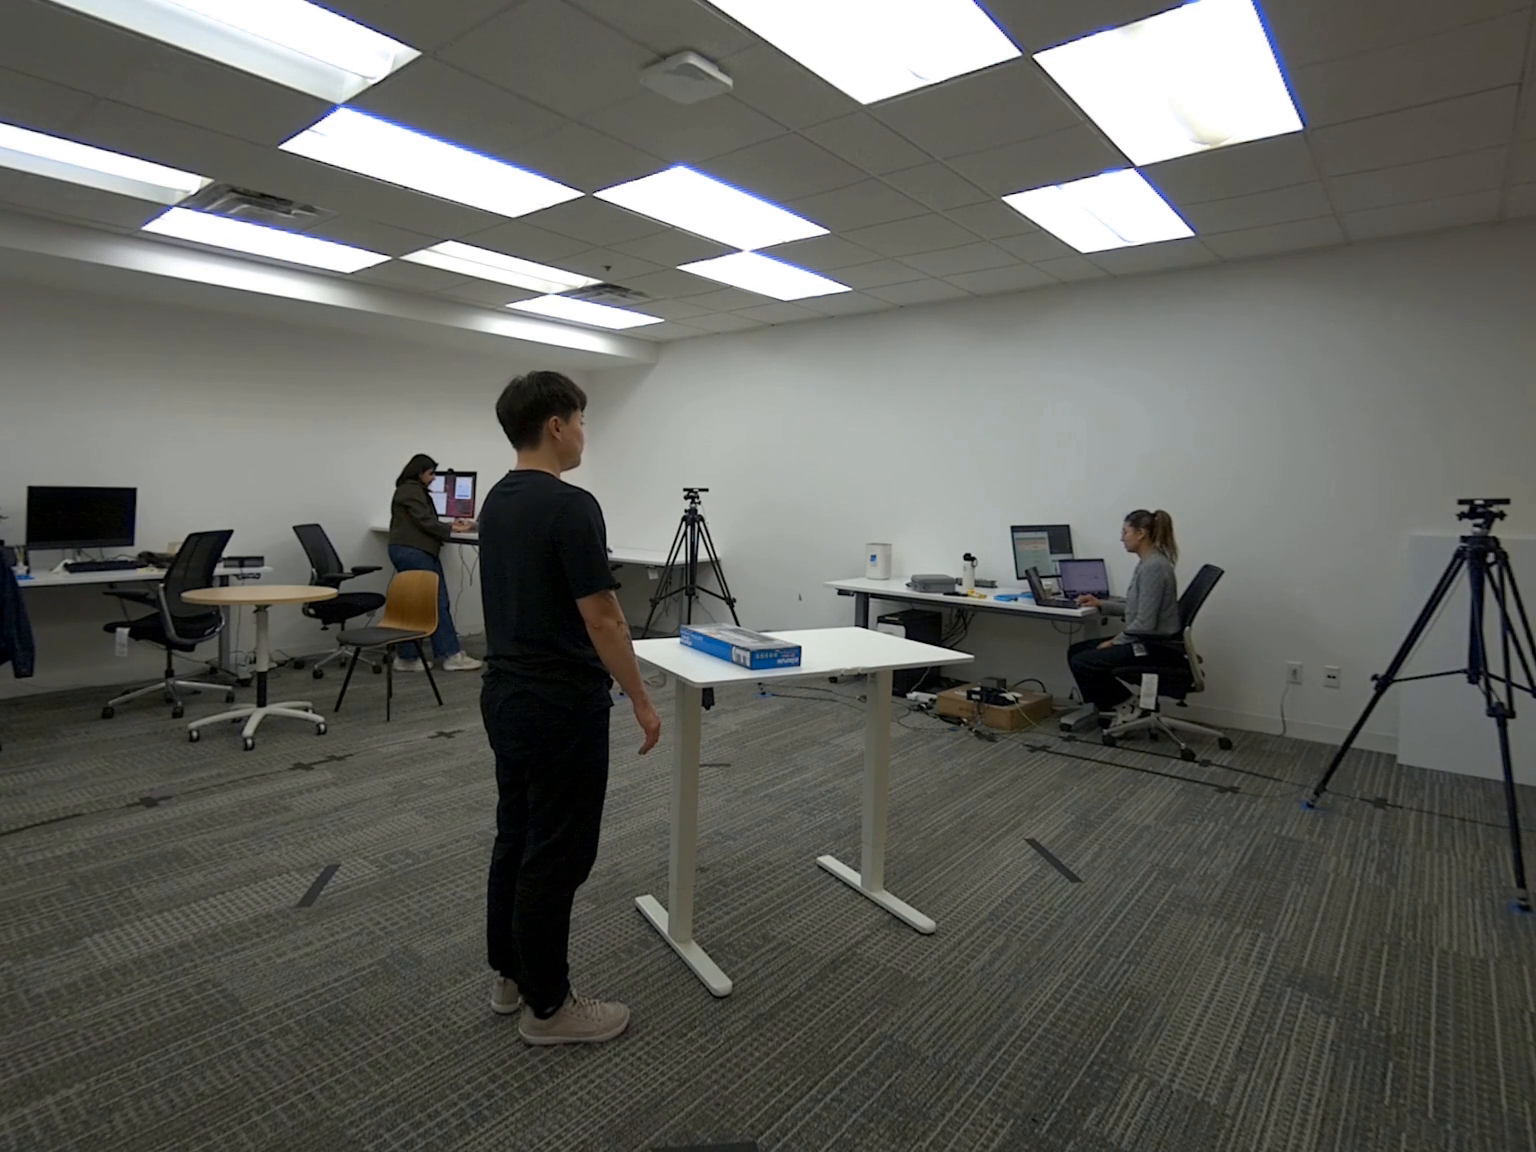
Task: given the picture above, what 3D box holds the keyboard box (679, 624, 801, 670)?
[{"bbox_3d":[-0.102,0.210,2.600,0.171,0.059,0.451,-2,7,-32],"label":"keyboard box"}]
